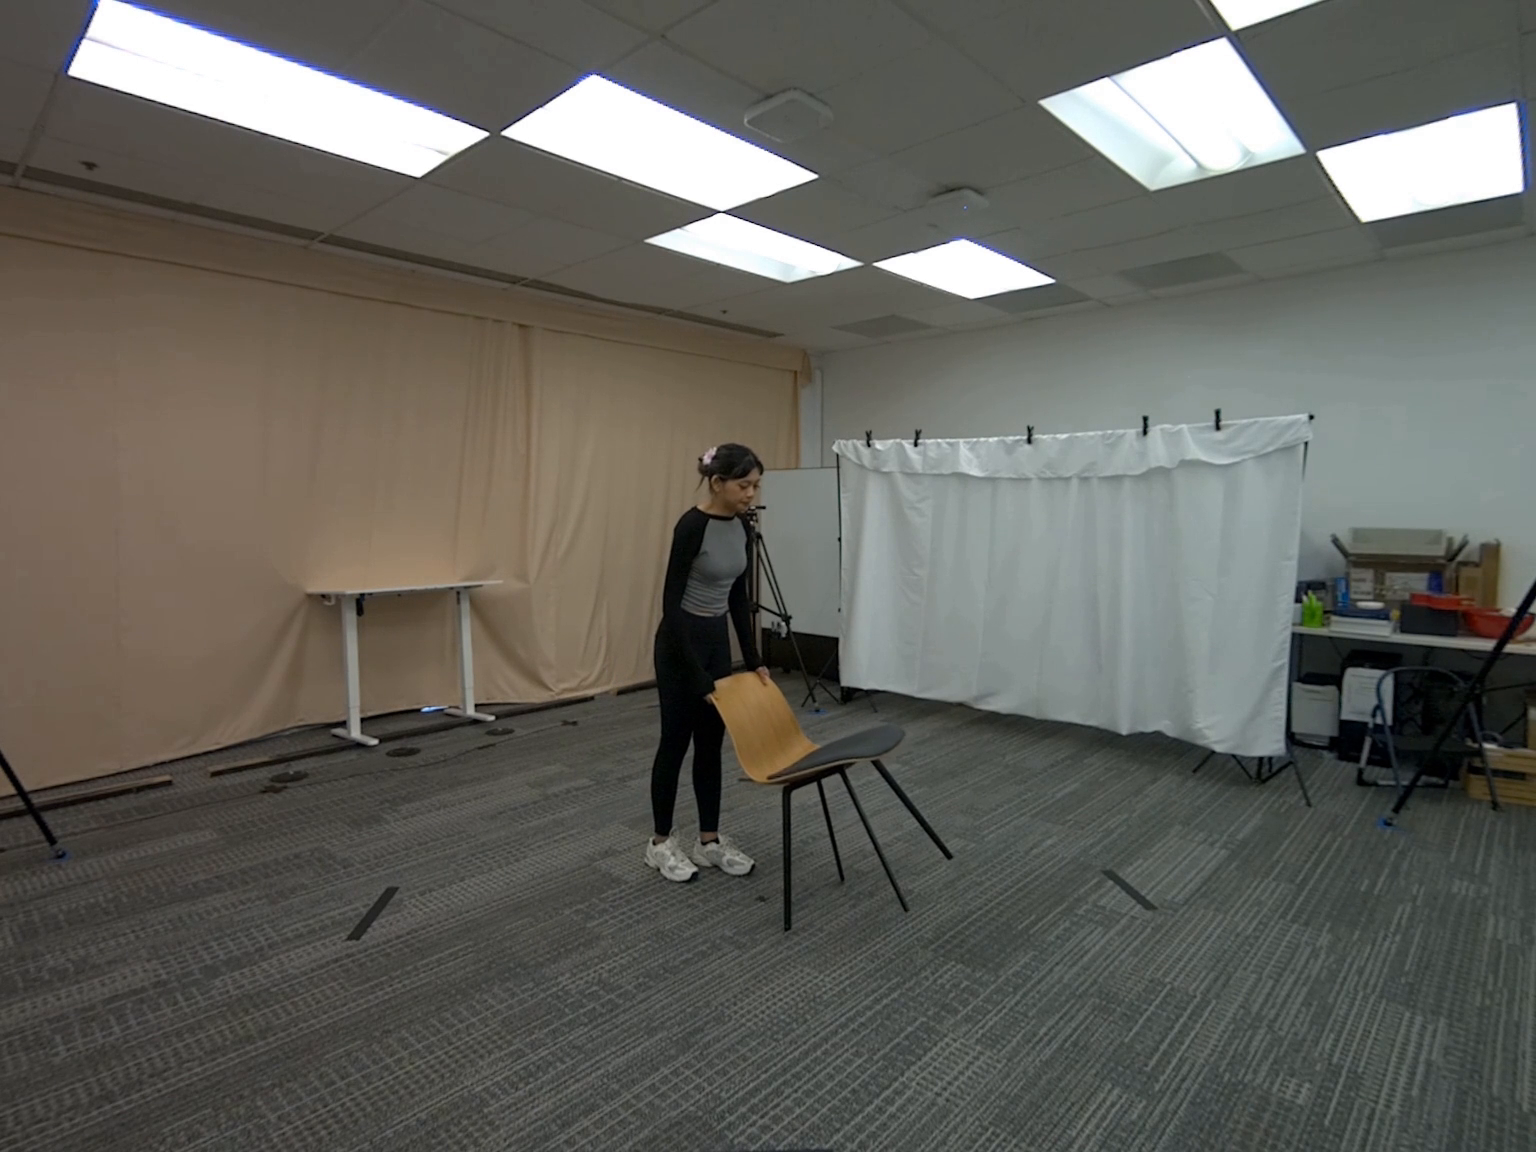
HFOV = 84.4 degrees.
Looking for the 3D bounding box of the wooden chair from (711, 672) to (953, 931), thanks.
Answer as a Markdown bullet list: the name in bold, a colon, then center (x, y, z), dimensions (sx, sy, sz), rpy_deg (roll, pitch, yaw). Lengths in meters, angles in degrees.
- **wooden chair**: center (0.214, 0.671, 2.882), dimensions (0.531, 0.888, 0.465), rpy_deg (-30, -13, 29)
